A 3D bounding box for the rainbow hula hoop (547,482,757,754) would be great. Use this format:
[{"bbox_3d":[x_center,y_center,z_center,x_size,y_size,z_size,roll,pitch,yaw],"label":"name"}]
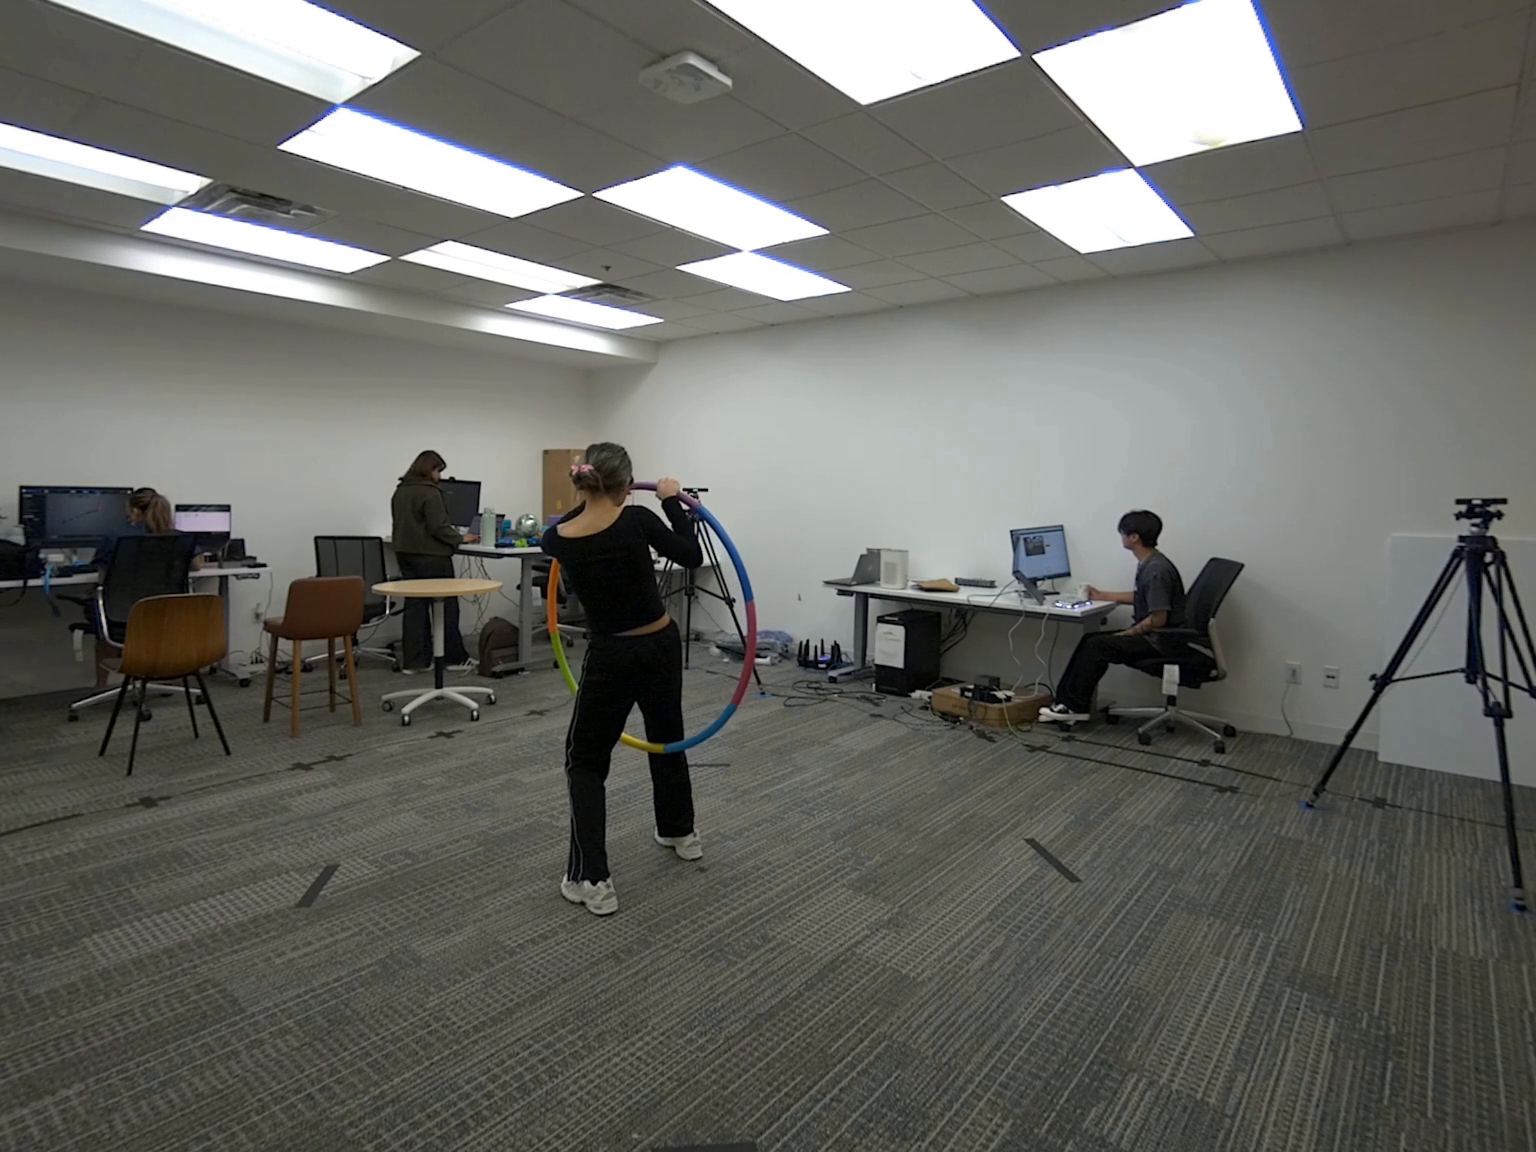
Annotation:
[{"bbox_3d":[-0.470,0.139,3.111,1.010,0.975,0.034,4,5,34],"label":"rainbow hula hoop"}]
